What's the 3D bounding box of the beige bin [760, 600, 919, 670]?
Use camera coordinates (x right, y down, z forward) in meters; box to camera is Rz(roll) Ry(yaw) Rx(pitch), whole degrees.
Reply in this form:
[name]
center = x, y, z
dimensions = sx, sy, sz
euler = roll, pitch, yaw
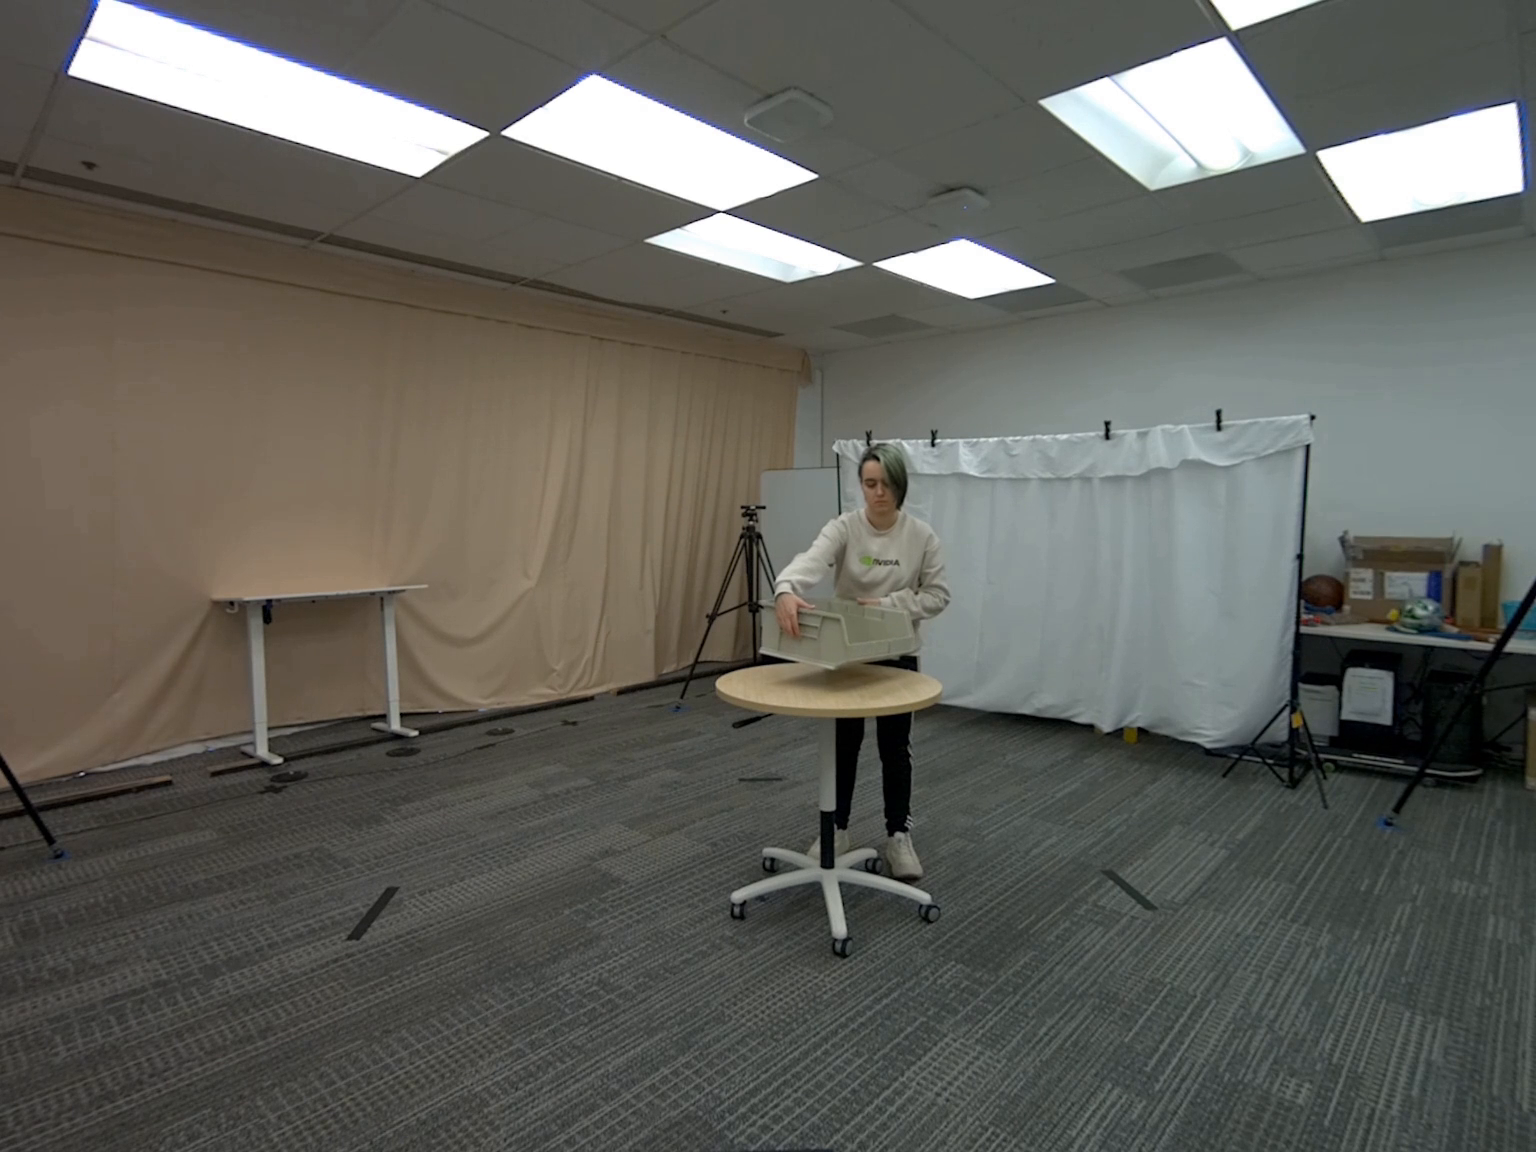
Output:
[beige bin]
center = 0.242, 0.197, 2.924
dimensions = 0.390, 0.188, 0.409
euler = 7, 5, 41
